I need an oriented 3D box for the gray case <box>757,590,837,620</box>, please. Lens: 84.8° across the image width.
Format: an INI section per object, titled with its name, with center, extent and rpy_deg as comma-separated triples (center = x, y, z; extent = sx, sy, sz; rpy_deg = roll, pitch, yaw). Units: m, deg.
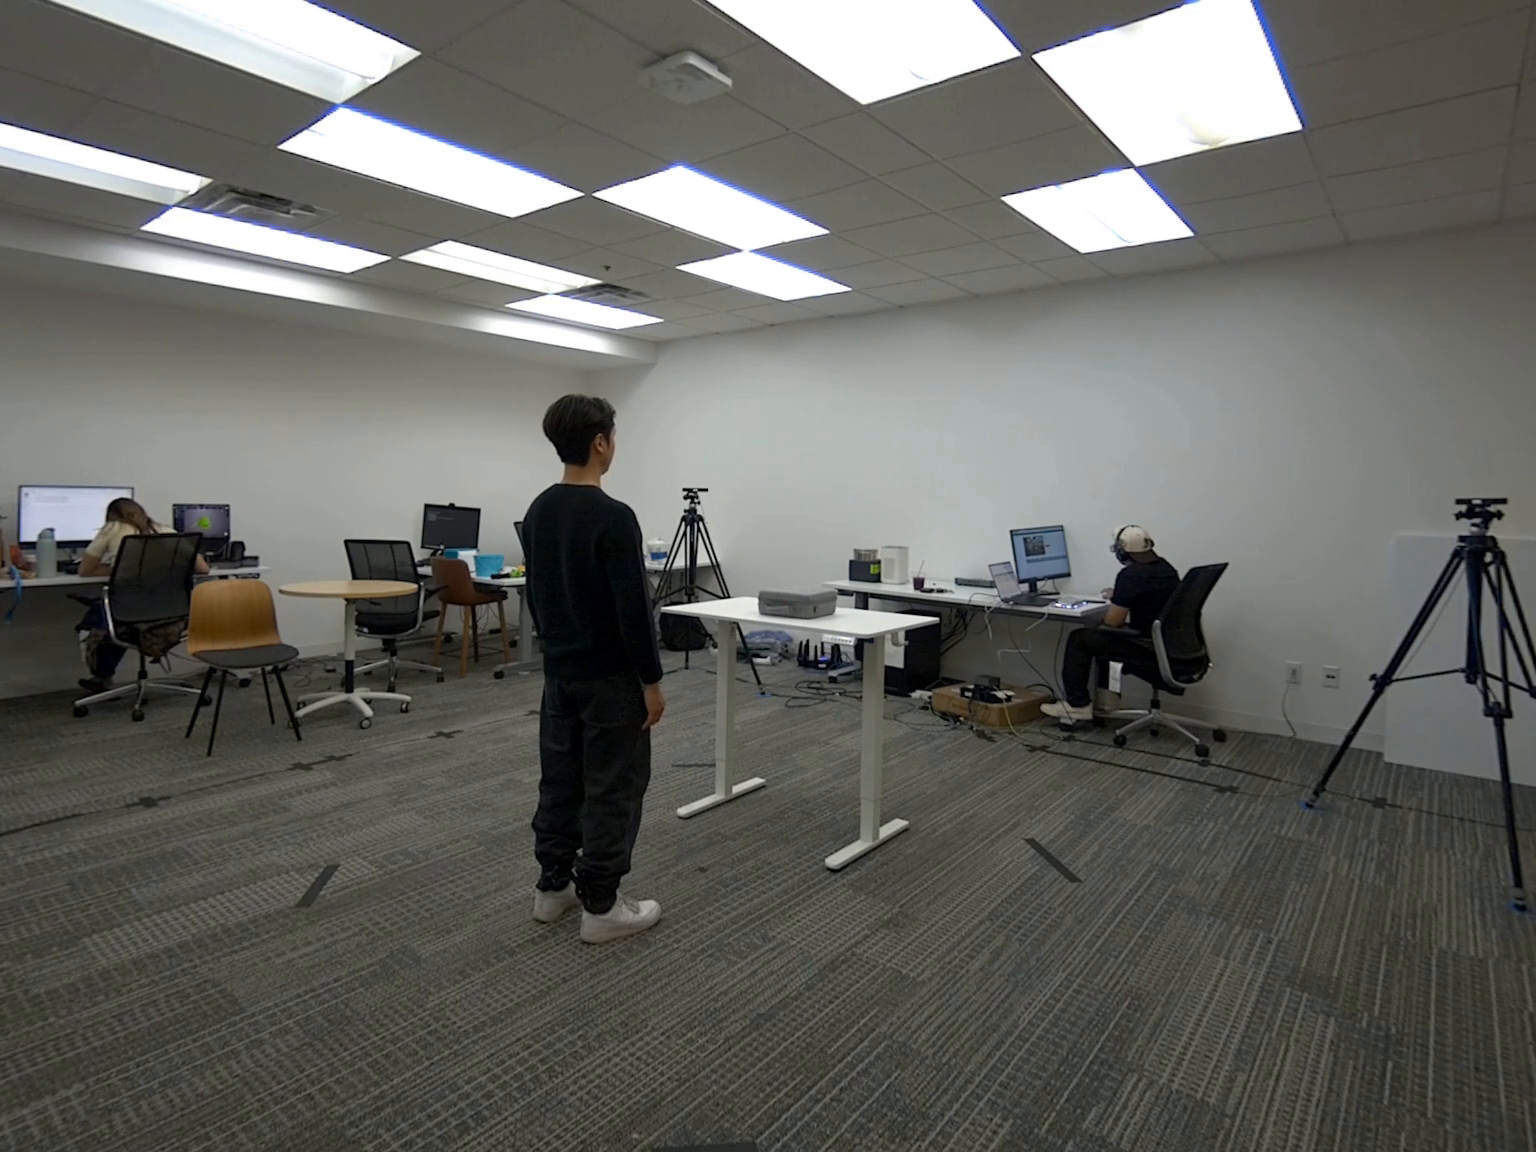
[gray case]
center = 0.114, 0.101, 3.505
extent = 0.265, 0.104, 0.254
rpy_deg = 5, 7, 33
